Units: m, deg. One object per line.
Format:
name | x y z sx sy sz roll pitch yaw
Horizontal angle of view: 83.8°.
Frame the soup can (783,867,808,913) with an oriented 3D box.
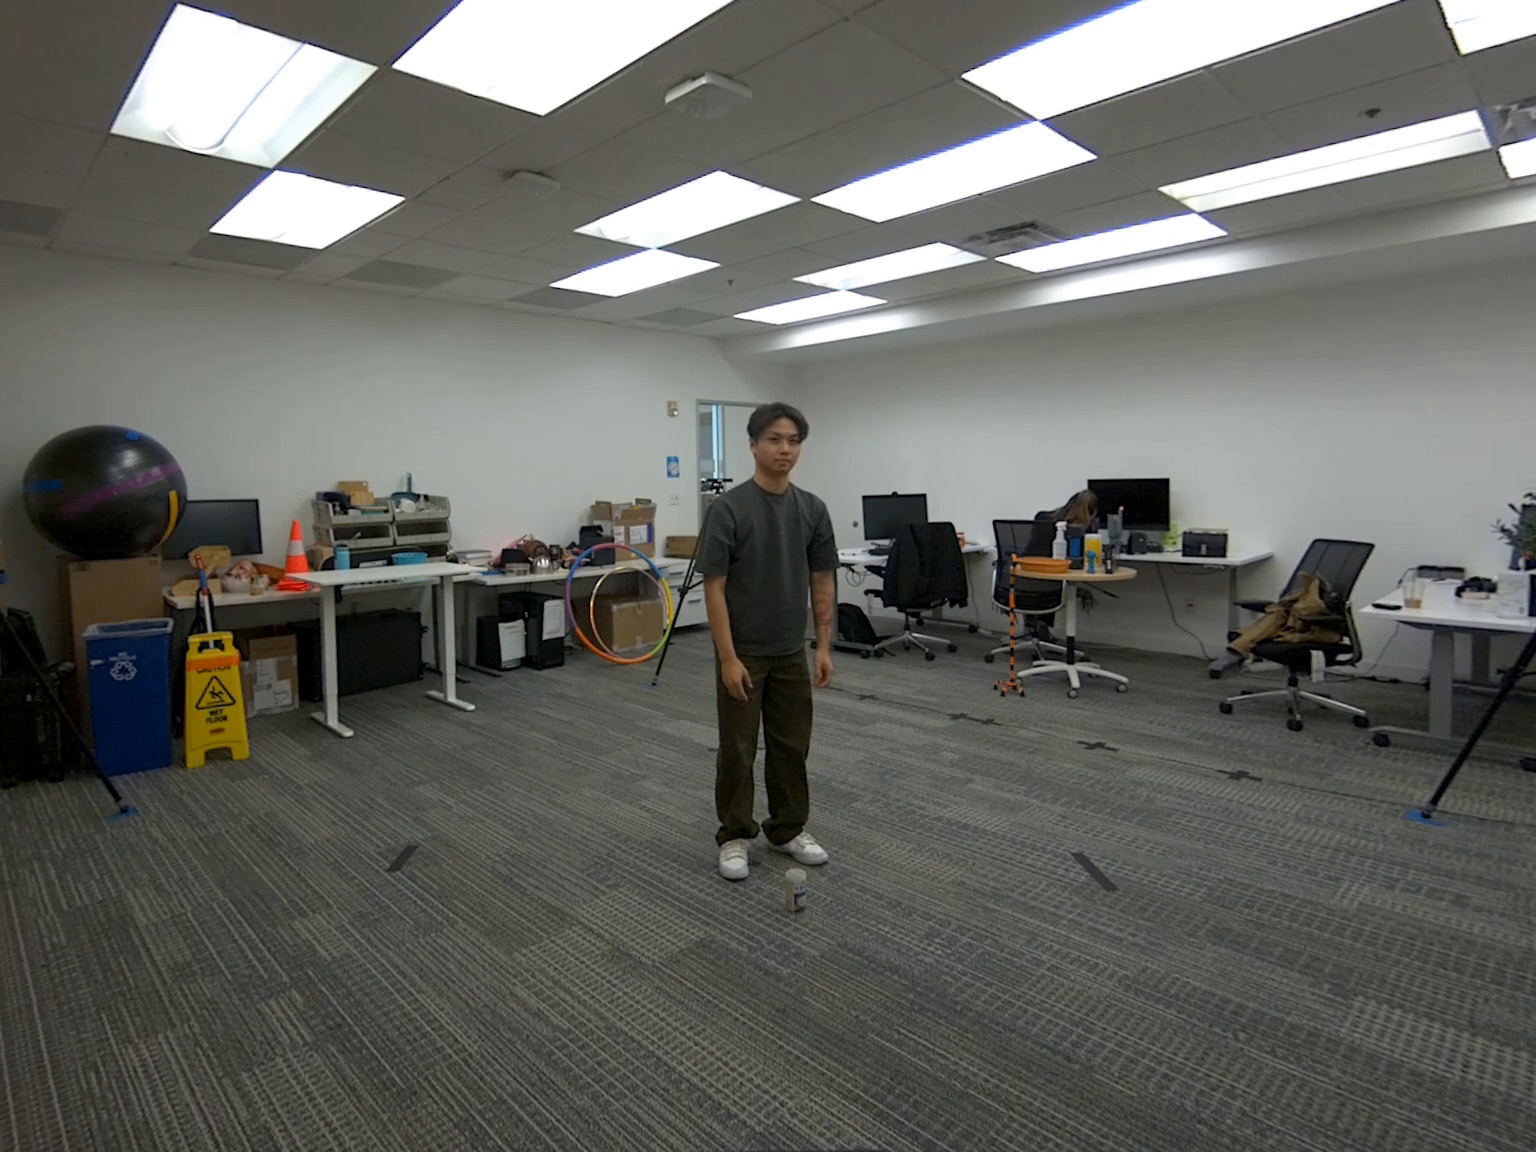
soup can | 0.090 1.028 2.772 0.067 0.121 0.067 -1 5 -2
